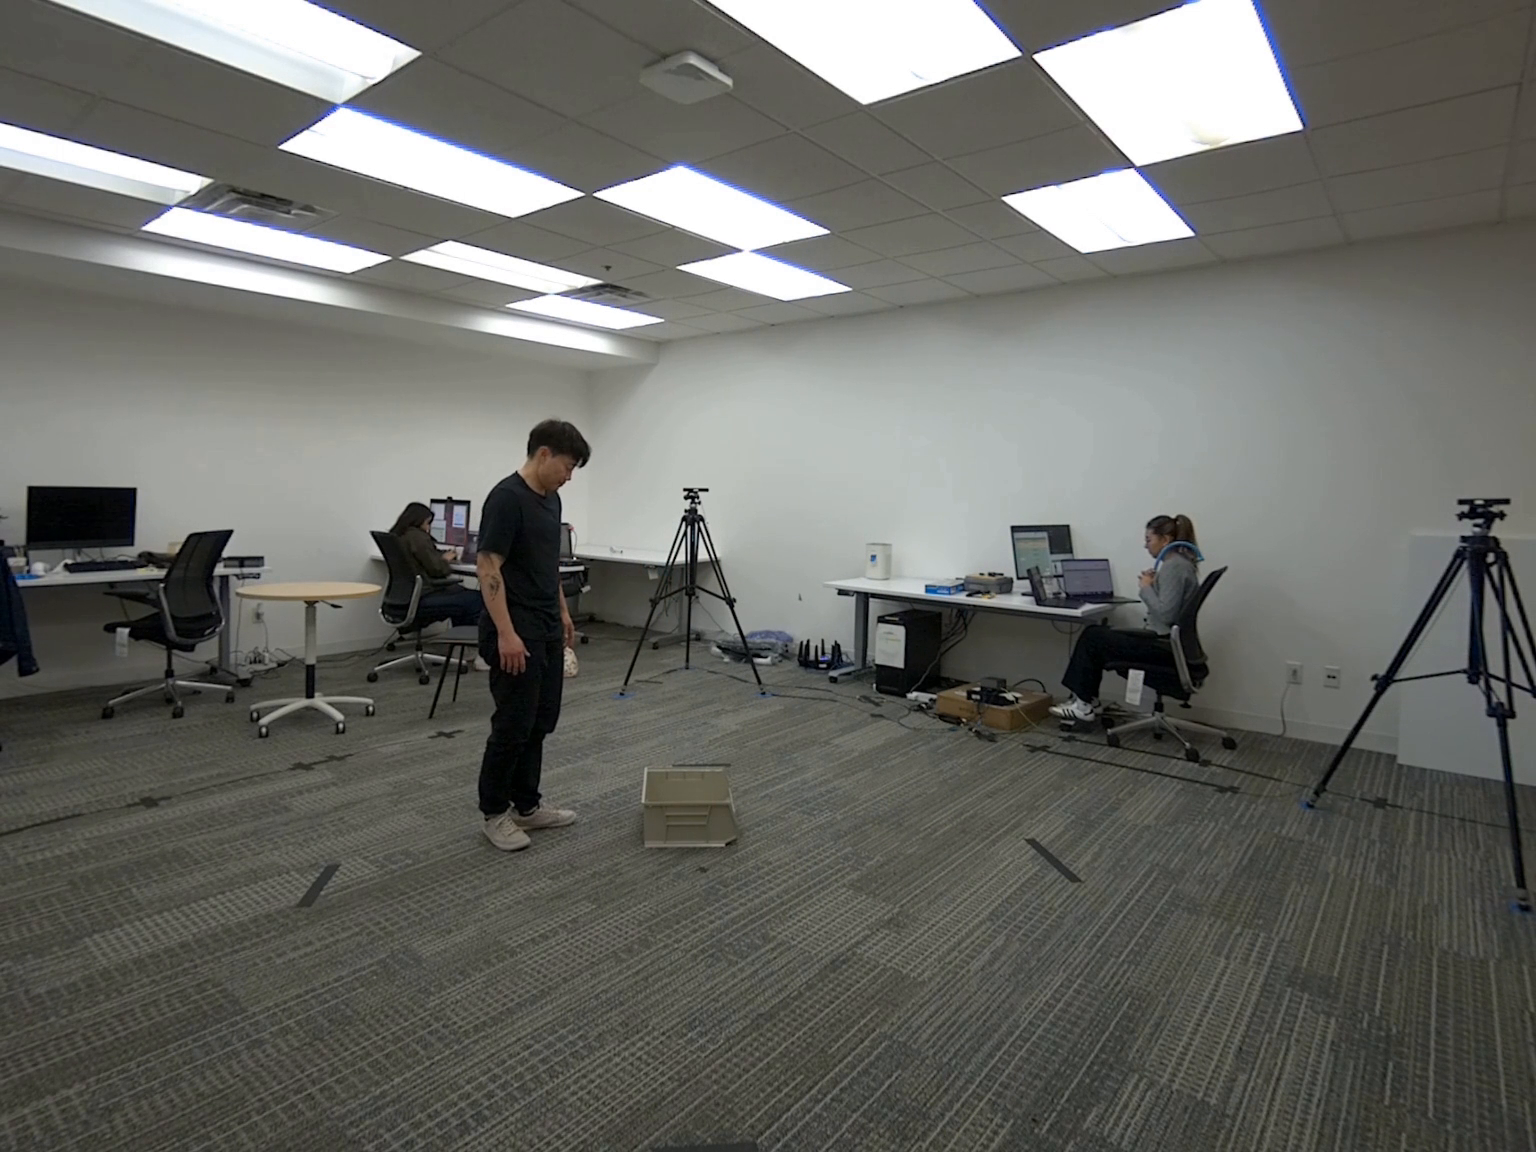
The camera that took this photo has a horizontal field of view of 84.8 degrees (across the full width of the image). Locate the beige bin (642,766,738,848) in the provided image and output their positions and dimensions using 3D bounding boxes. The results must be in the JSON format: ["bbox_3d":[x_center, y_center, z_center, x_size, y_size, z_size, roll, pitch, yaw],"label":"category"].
[{"bbox_3d":[-0.337,0.944,3.499,0.375,0.188,0.427,0,7,-6],"label":"beige bin"}]
